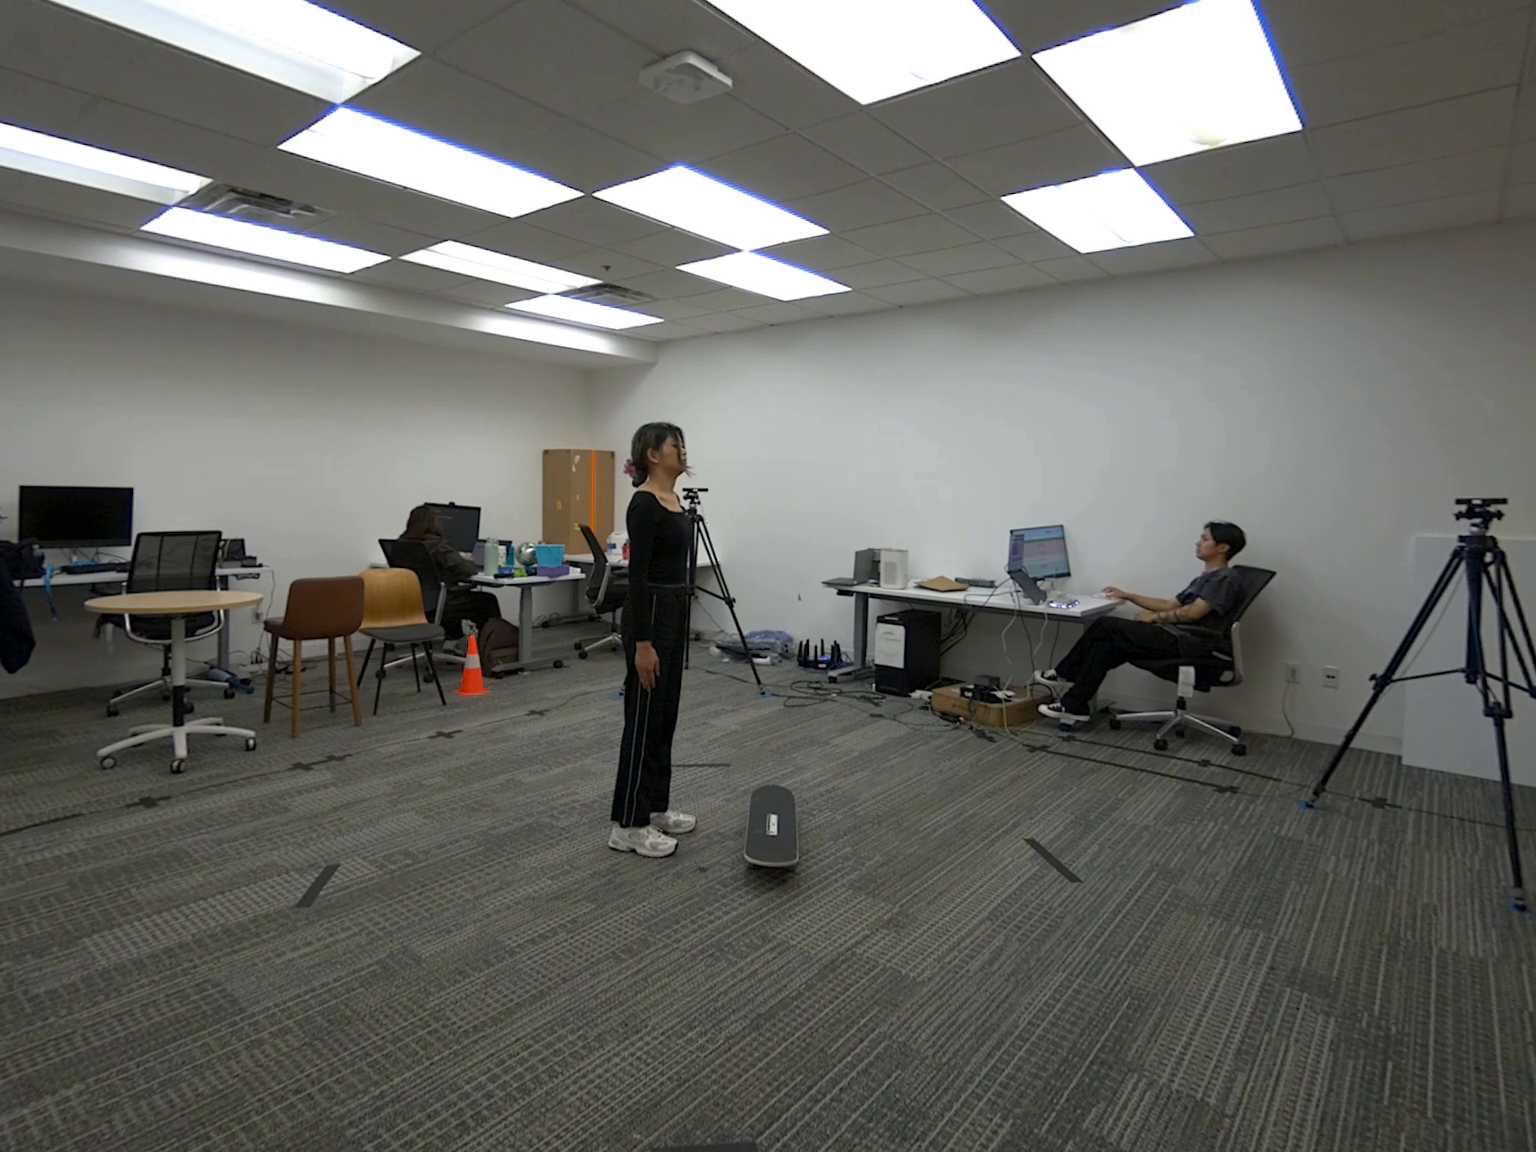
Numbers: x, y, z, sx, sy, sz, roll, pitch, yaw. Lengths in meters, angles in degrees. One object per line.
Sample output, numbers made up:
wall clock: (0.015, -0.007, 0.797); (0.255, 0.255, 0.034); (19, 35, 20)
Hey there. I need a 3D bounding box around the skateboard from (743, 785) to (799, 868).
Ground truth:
skateboard: (0.008, 0.992, 3.312); (0.194, 0.110, 0.786); (2, 6, 1)
